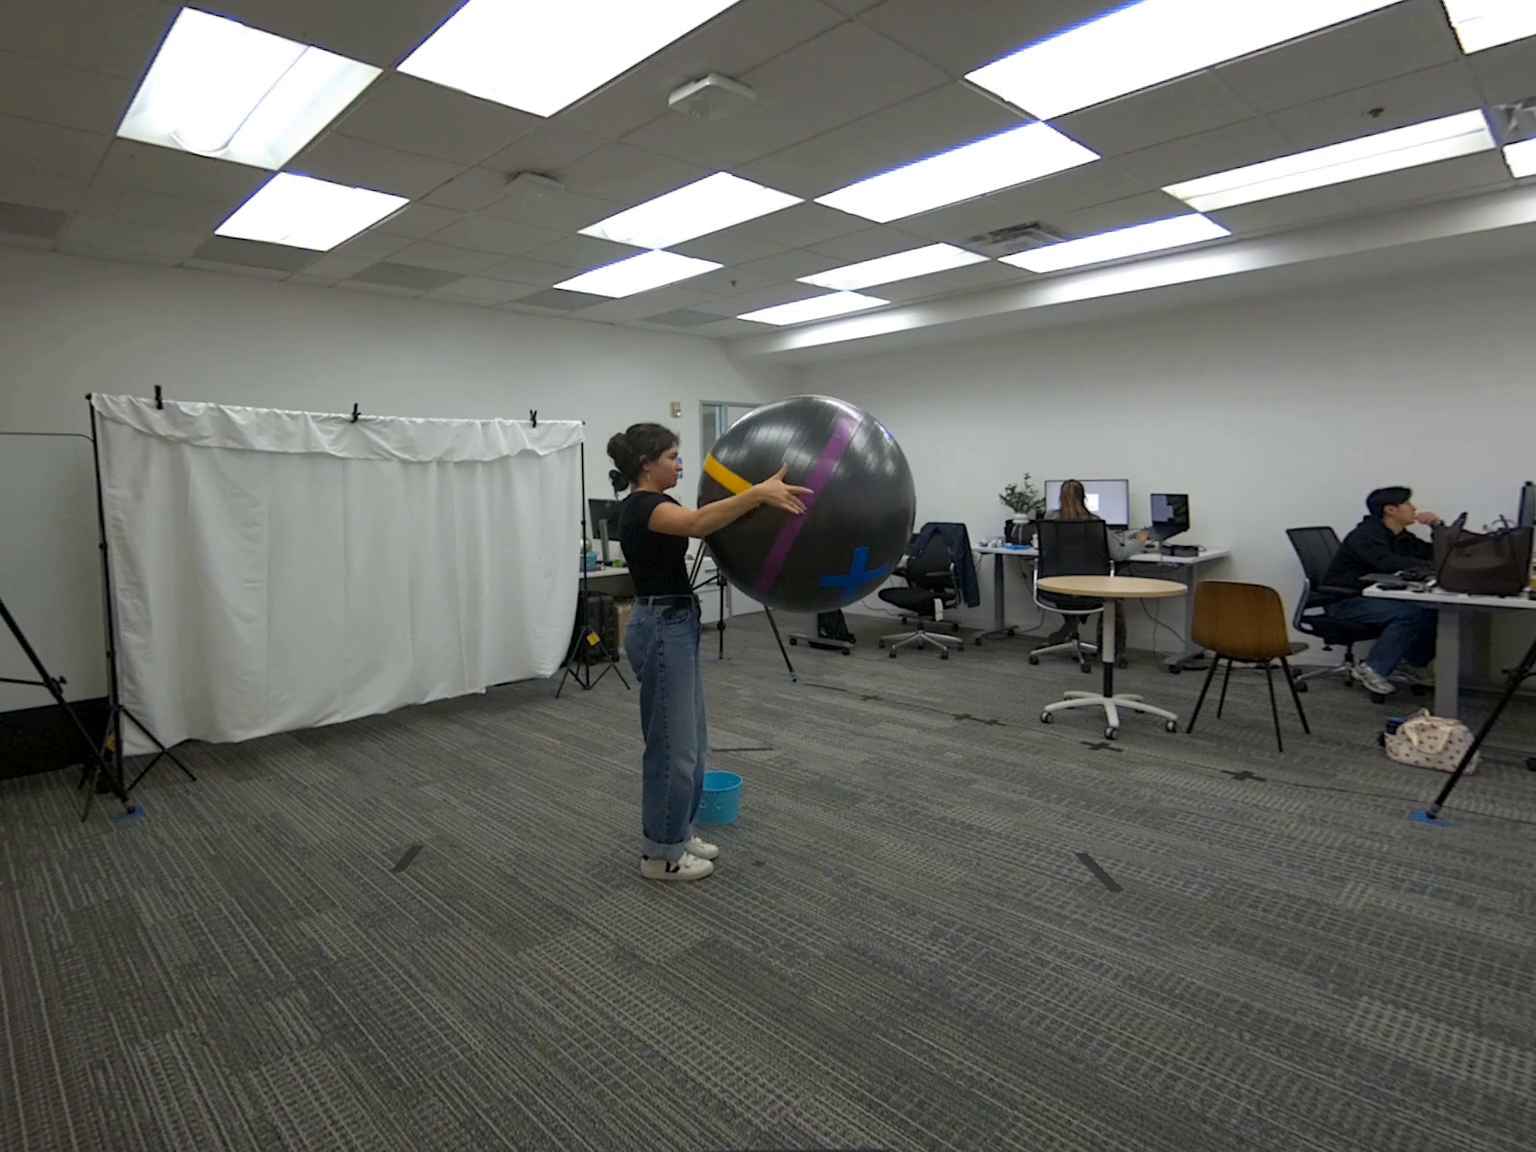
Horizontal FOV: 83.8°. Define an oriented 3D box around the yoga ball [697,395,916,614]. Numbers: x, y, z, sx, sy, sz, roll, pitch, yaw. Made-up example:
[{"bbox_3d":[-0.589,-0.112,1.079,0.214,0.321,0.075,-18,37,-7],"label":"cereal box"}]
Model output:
[{"bbox_3d":[0.139,-0.243,2.979,0.757,0.755,0.762,-1,5,-2],"label":"yoga ball"}]
